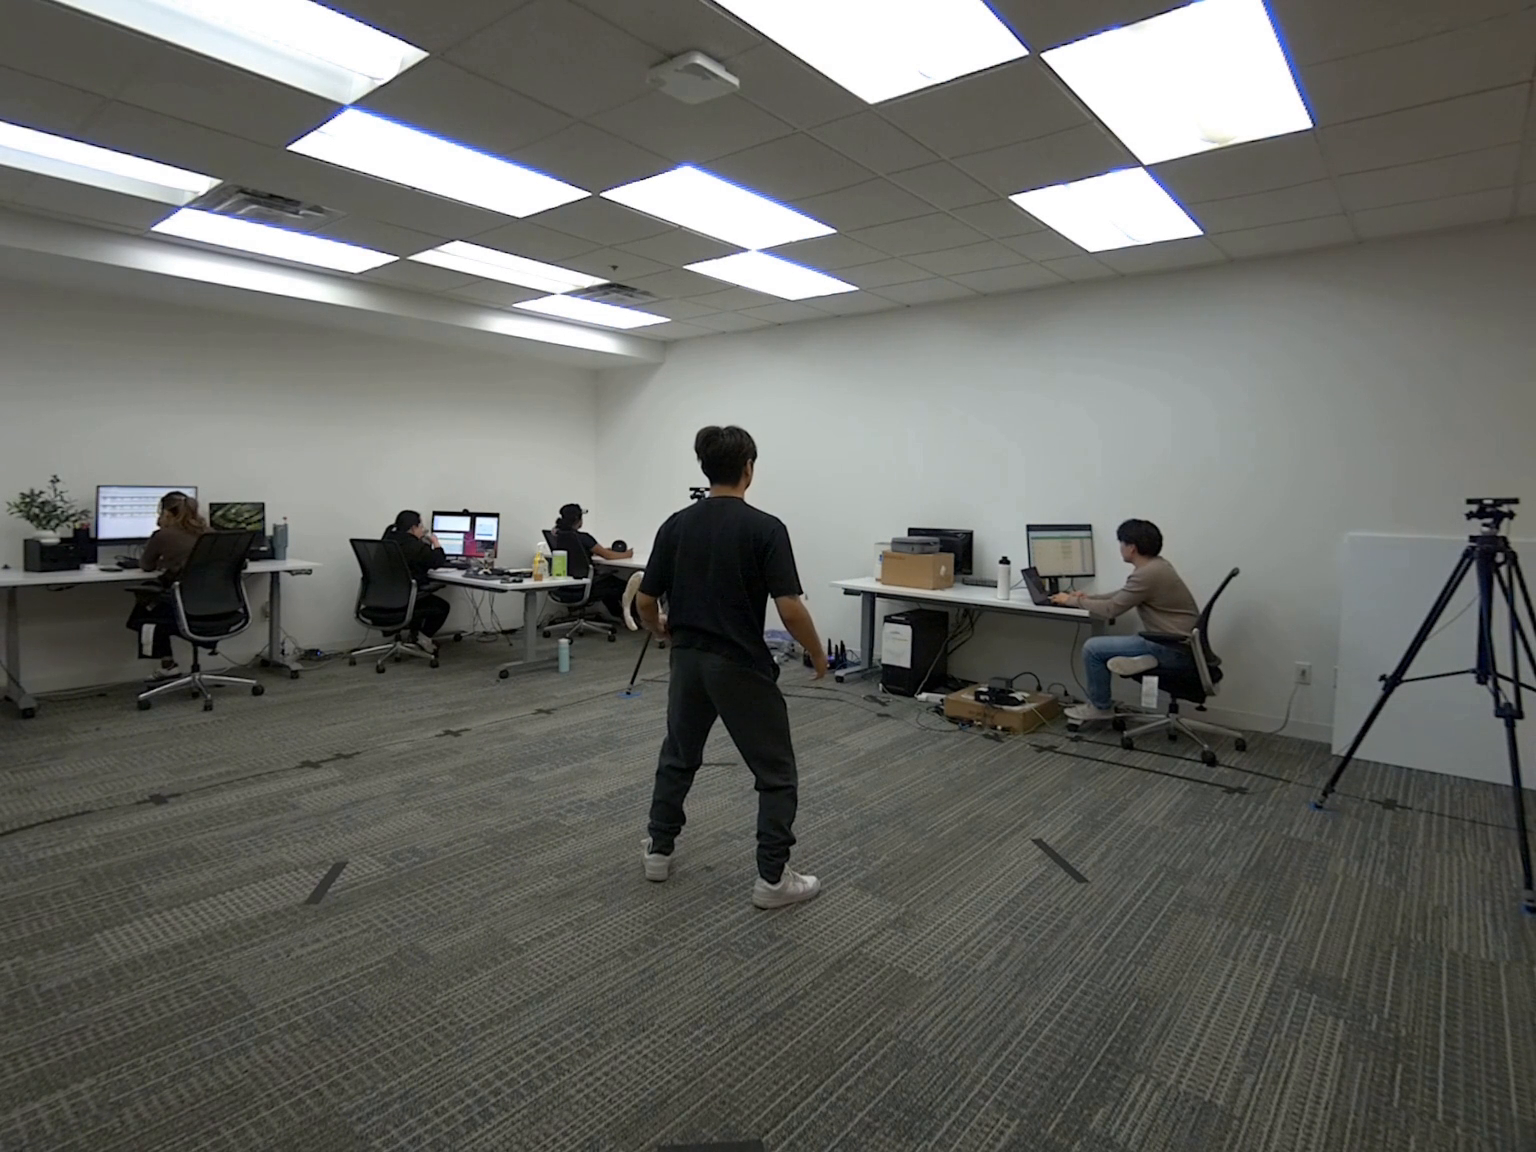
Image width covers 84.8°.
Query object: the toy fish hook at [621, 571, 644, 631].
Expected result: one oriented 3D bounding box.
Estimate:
[{"bbox_3d":[-0.464,0.164,3.347,0.047,0.222,0.528,10,24,-34],"label":"toy fish hook"}]
